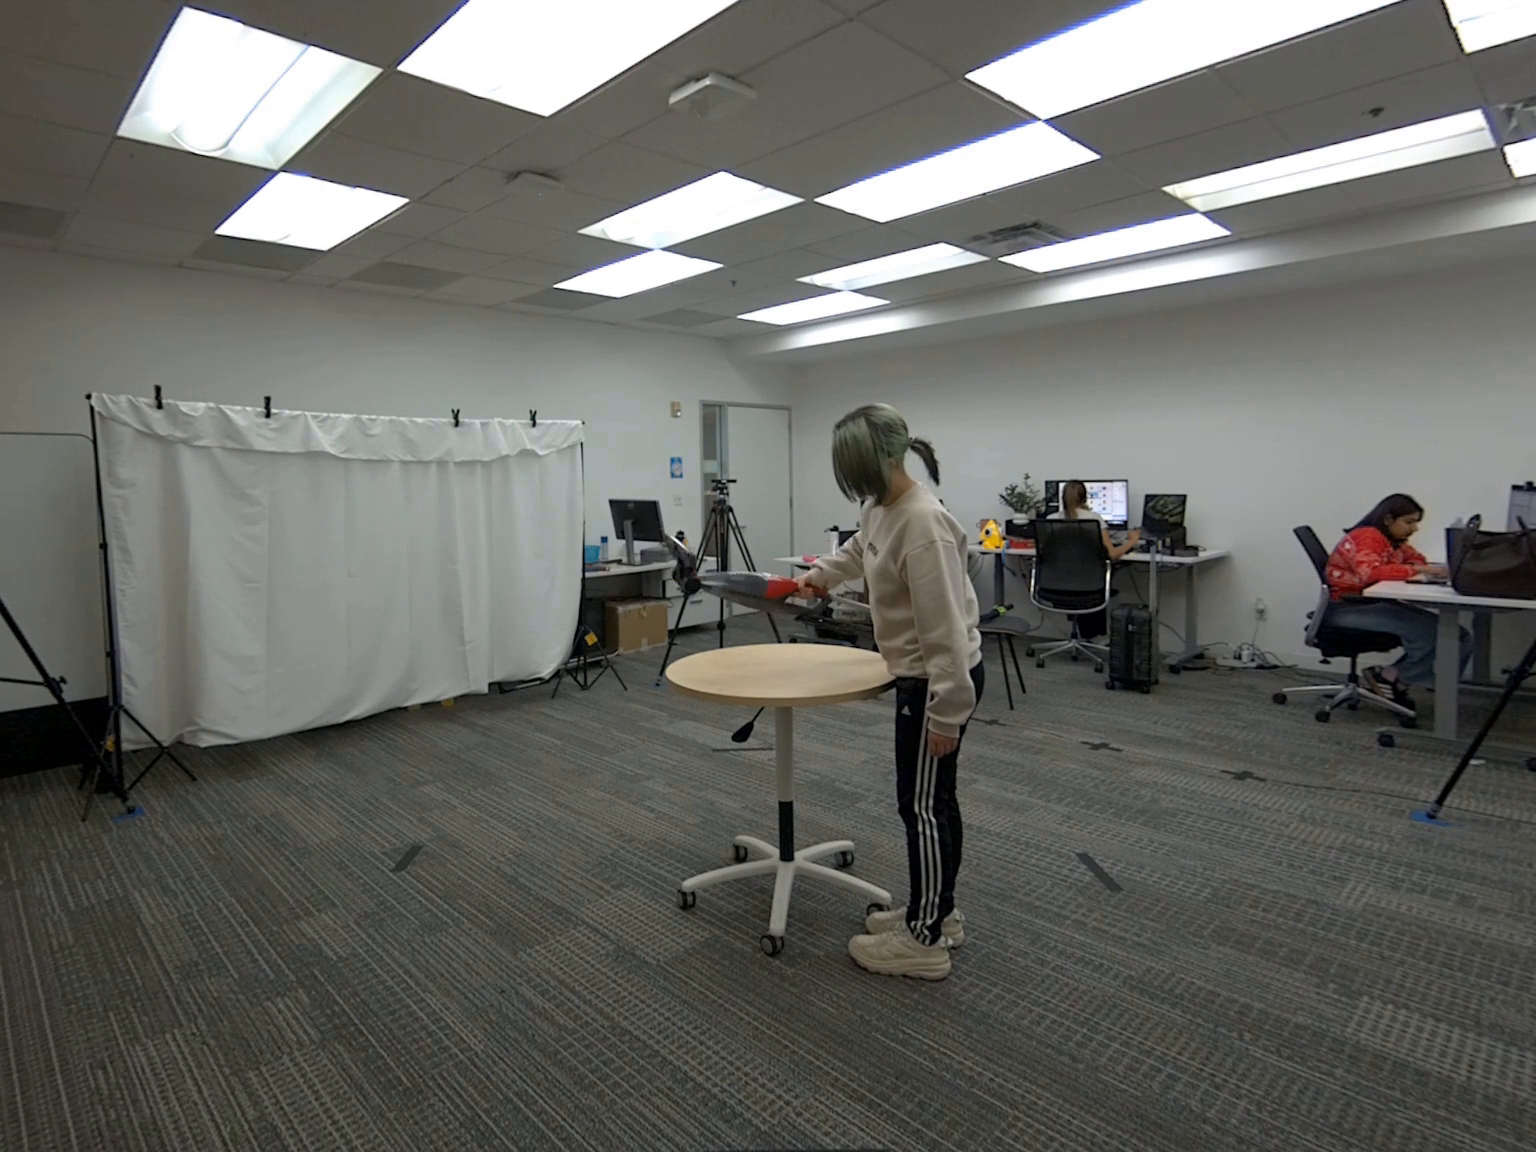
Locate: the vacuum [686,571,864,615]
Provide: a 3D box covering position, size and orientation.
[{"bbox_3d":[0.183,0.119,2.750,1.023,0.143,0.260,17,9,-23],"label":"vacuum"}]
